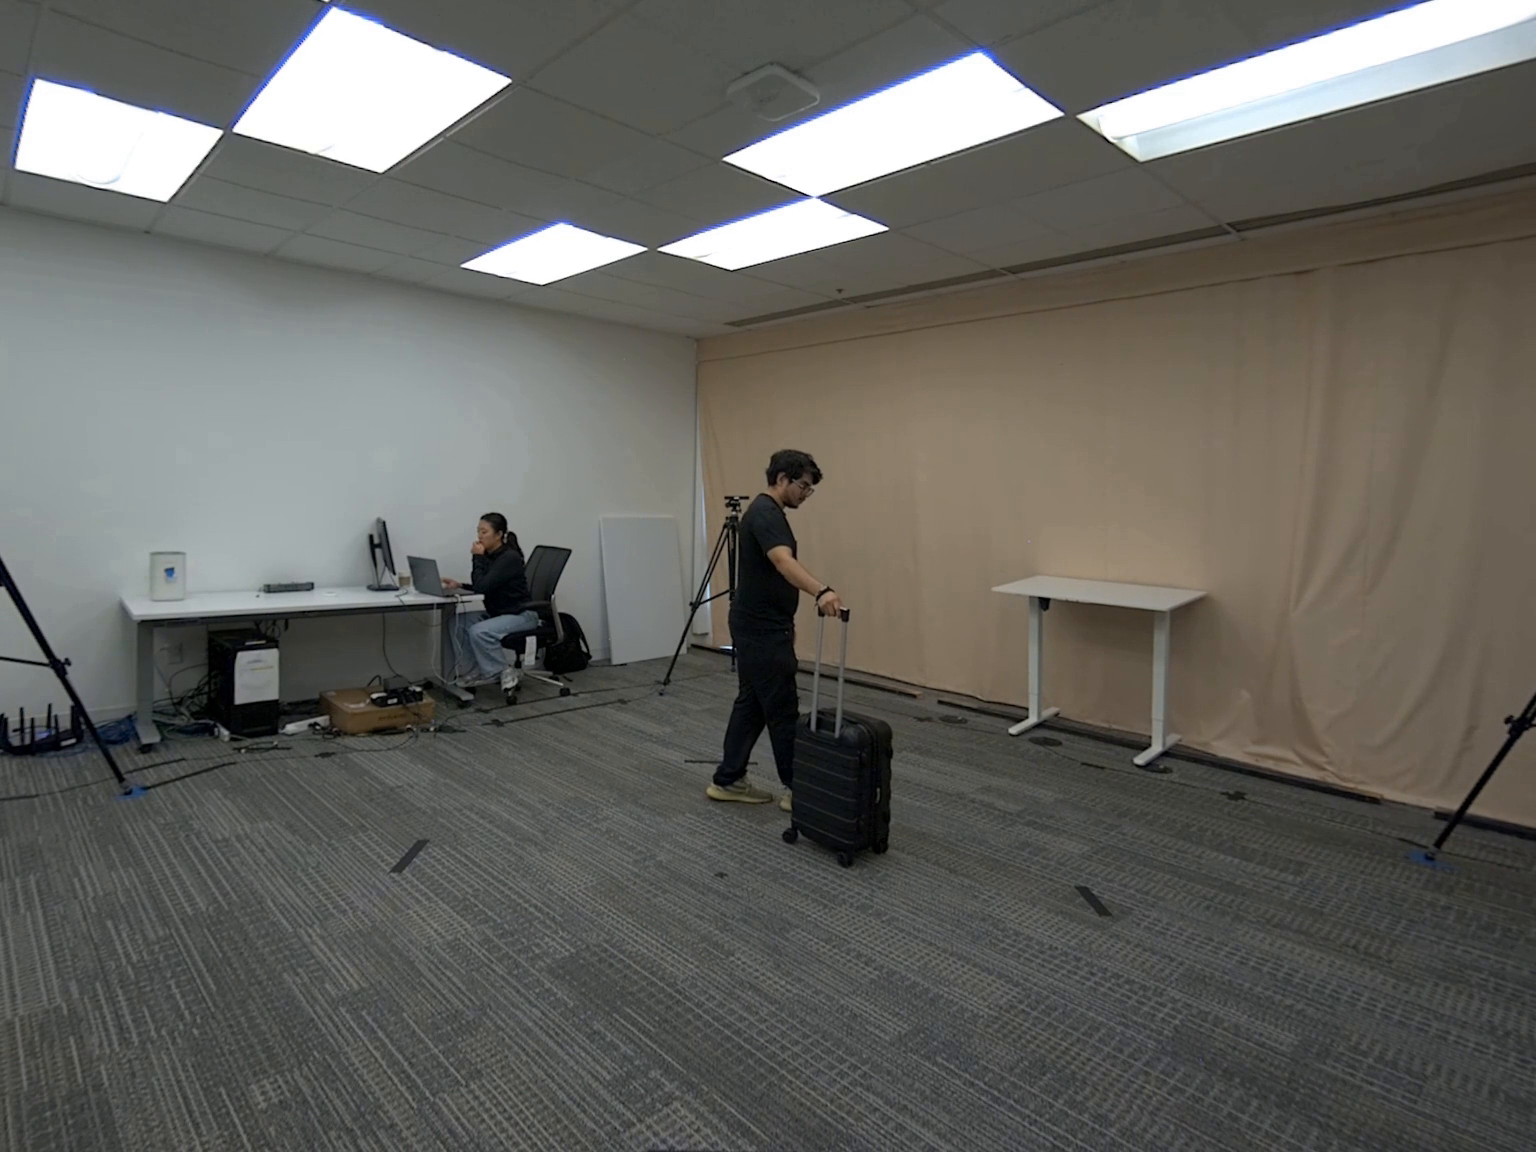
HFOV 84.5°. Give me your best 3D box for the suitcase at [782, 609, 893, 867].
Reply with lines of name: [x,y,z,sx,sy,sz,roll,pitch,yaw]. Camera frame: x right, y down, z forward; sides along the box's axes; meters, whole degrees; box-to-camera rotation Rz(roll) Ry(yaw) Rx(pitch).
suitcase: [0.303,0.614,3.346,0.251,0.977,0.394,2,4,-43]
